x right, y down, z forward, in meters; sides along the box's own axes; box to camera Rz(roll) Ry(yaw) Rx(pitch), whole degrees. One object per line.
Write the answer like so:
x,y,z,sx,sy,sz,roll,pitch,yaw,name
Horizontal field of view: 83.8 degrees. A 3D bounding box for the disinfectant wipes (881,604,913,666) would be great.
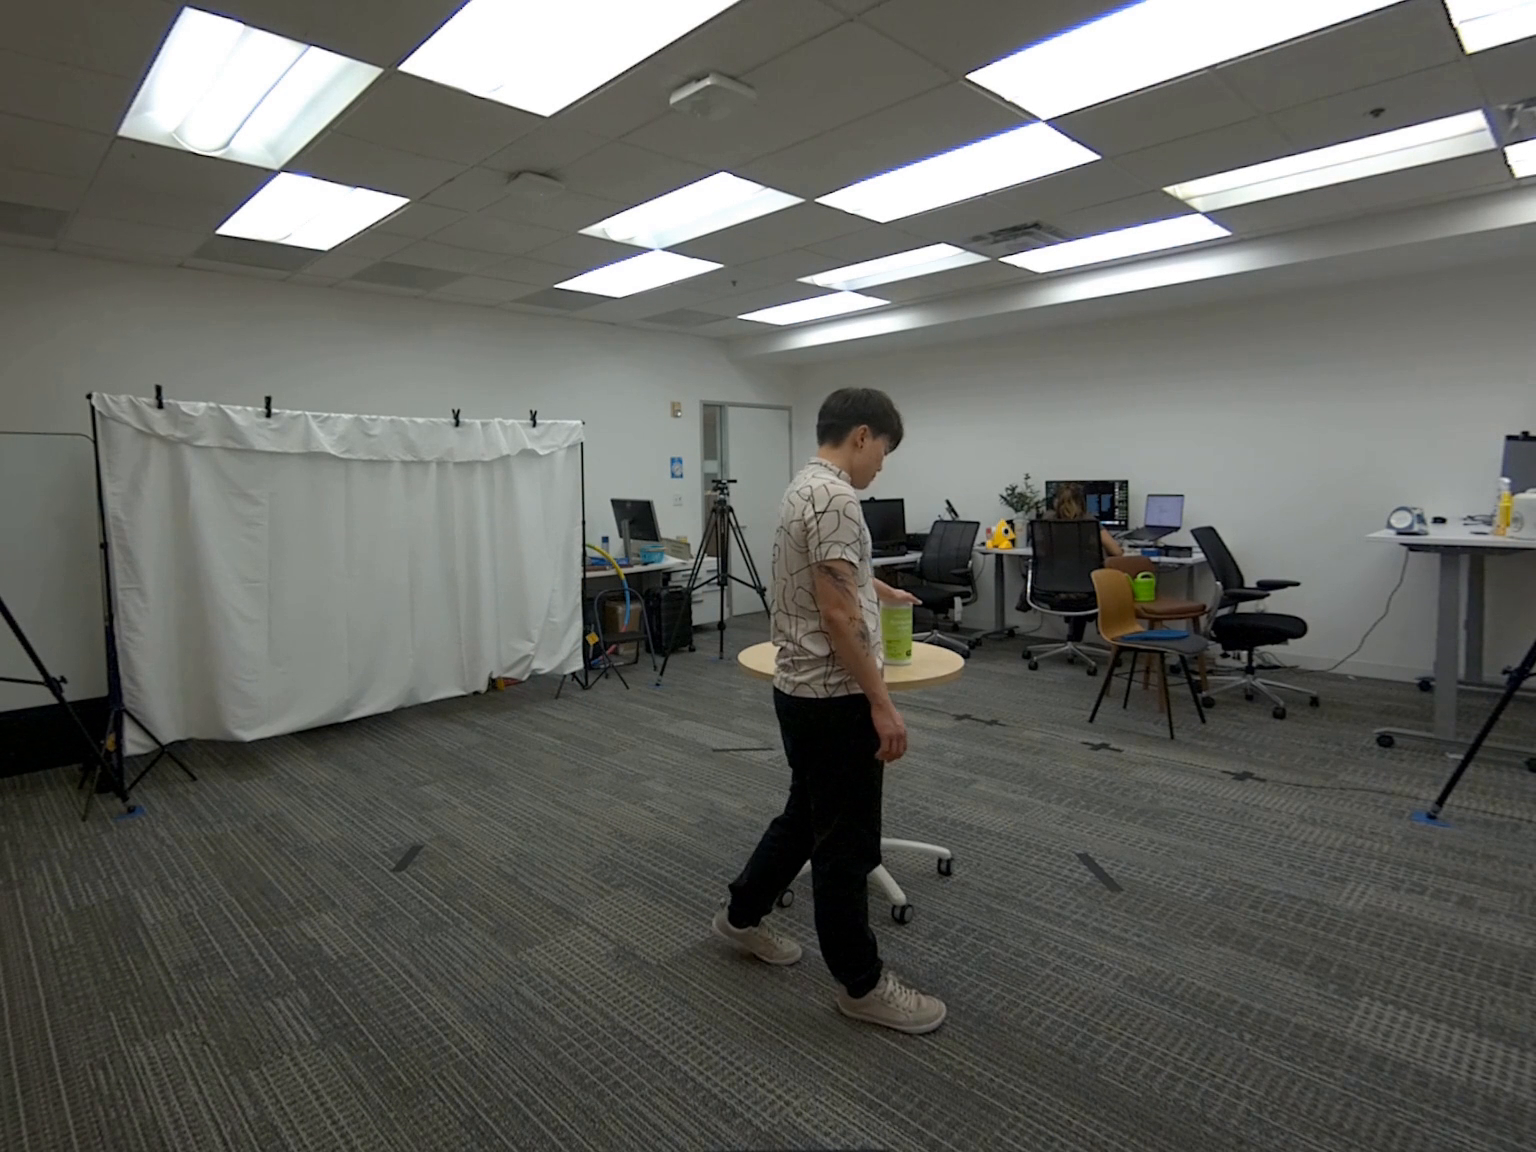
0.429,0.187,2.838,0.118,0.217,0.118,2,4,-2,disinfectant wipes
